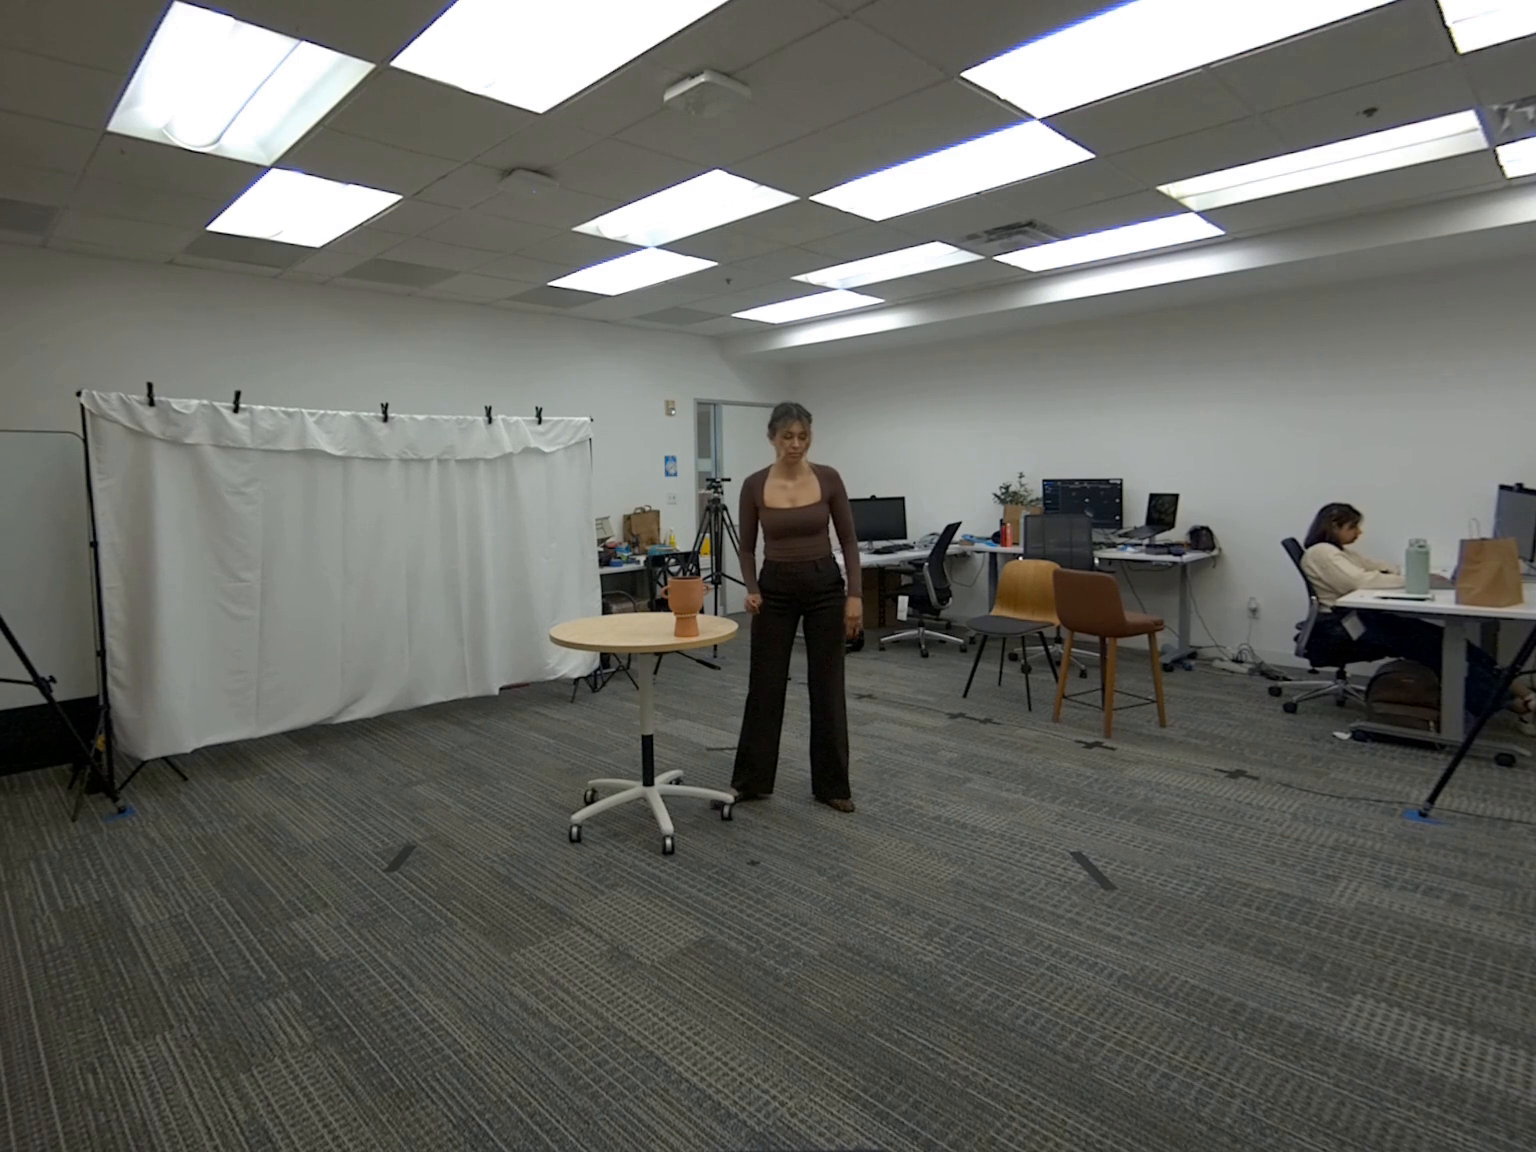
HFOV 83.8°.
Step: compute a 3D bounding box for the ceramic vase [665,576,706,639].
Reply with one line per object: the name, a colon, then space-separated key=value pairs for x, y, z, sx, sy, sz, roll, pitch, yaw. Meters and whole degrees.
ceramic vase: x=-0.315 y=0.118 z=3.293 sx=0.161 sy=0.219 sz=0.133 roll=1 pitch=6 yaw=14
